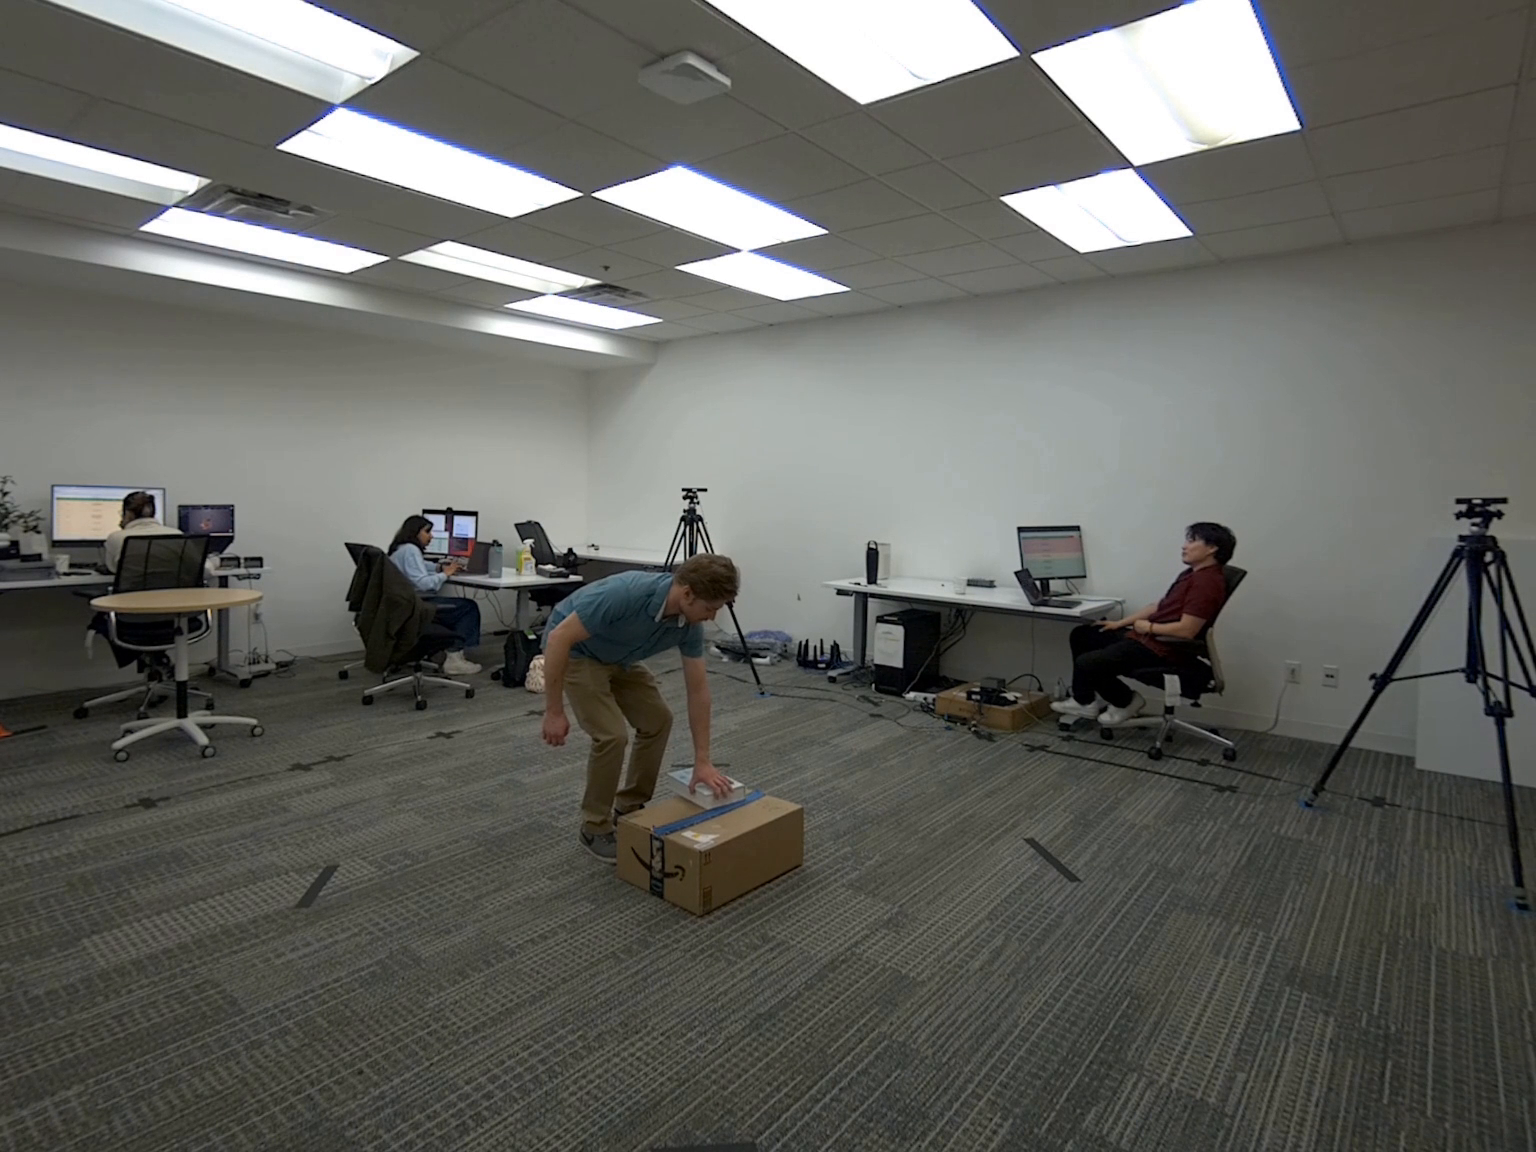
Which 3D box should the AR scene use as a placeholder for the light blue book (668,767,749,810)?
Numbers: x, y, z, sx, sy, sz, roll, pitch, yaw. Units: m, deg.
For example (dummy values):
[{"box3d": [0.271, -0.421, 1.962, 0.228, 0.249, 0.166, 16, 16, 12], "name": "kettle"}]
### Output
[{"box3d": [-0.251, 0.814, 3.286, 0.186, 0.059, 0.270, -4, 9, -41], "name": "light blue book"}]
